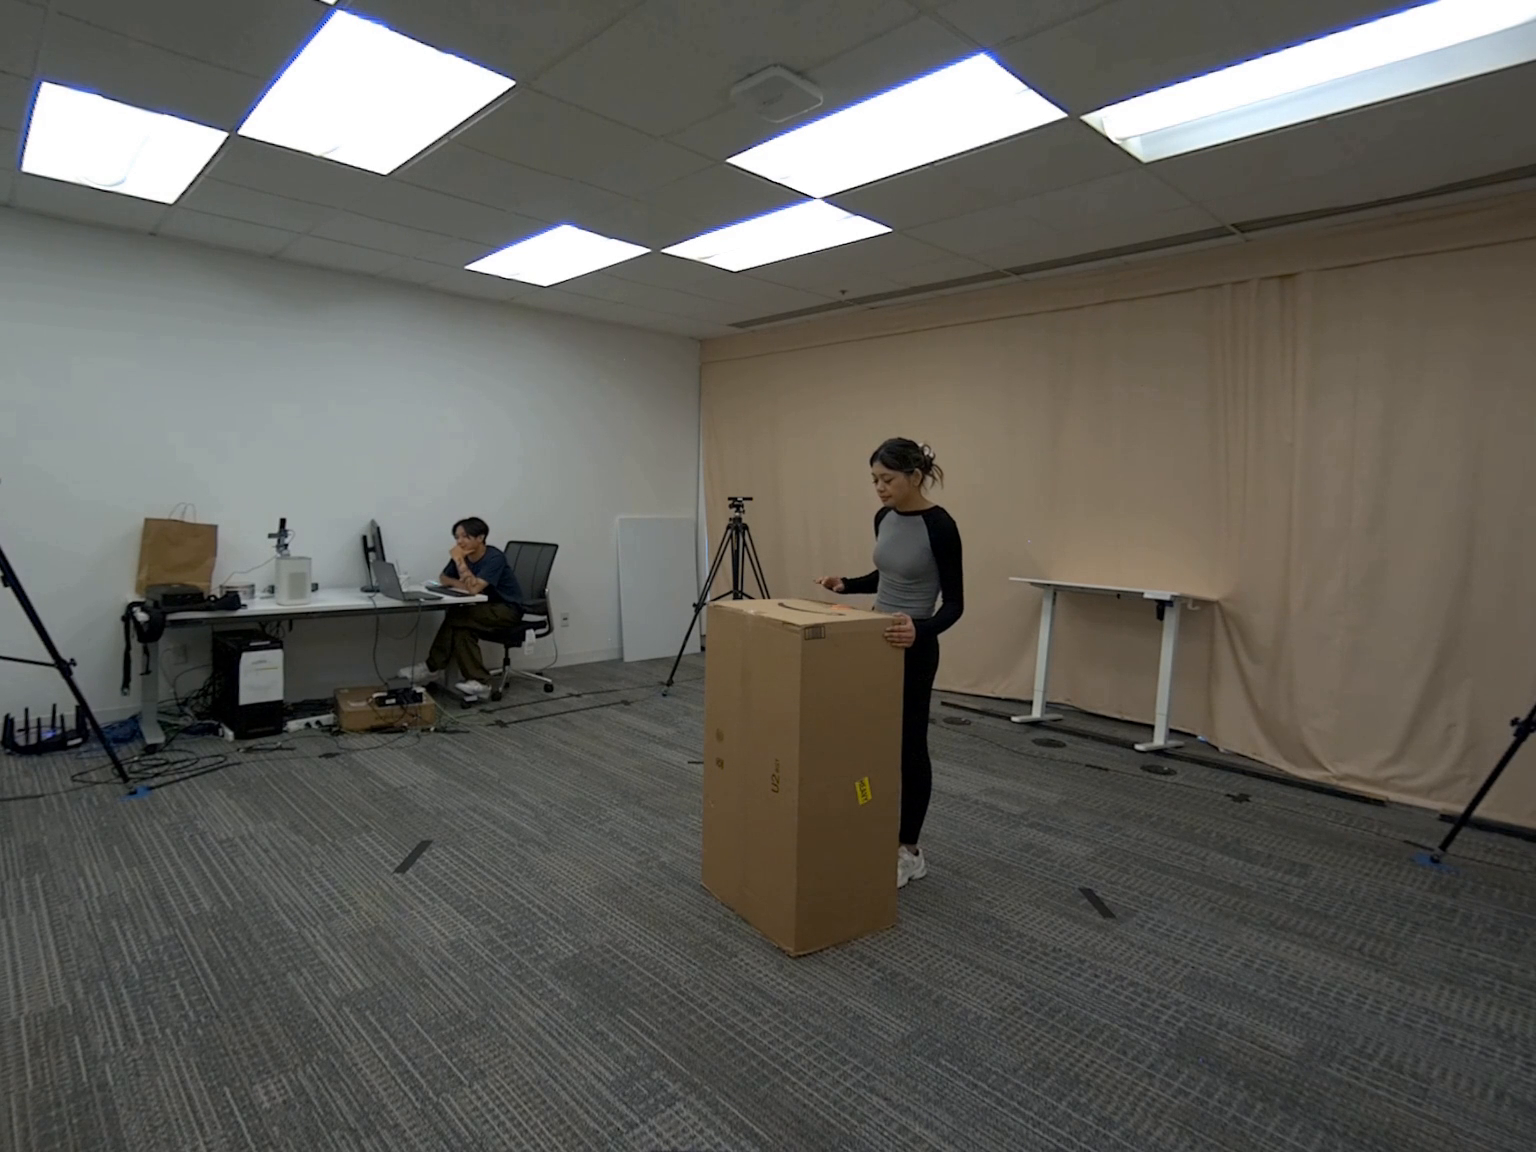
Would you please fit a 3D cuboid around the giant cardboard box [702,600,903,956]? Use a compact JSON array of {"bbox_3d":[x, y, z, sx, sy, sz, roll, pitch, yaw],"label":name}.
[{"bbox_3d":[0.098,0.627,2.877,0.437,1.024,0.598,-1,4,-34],"label":"giant cardboard box"}]
